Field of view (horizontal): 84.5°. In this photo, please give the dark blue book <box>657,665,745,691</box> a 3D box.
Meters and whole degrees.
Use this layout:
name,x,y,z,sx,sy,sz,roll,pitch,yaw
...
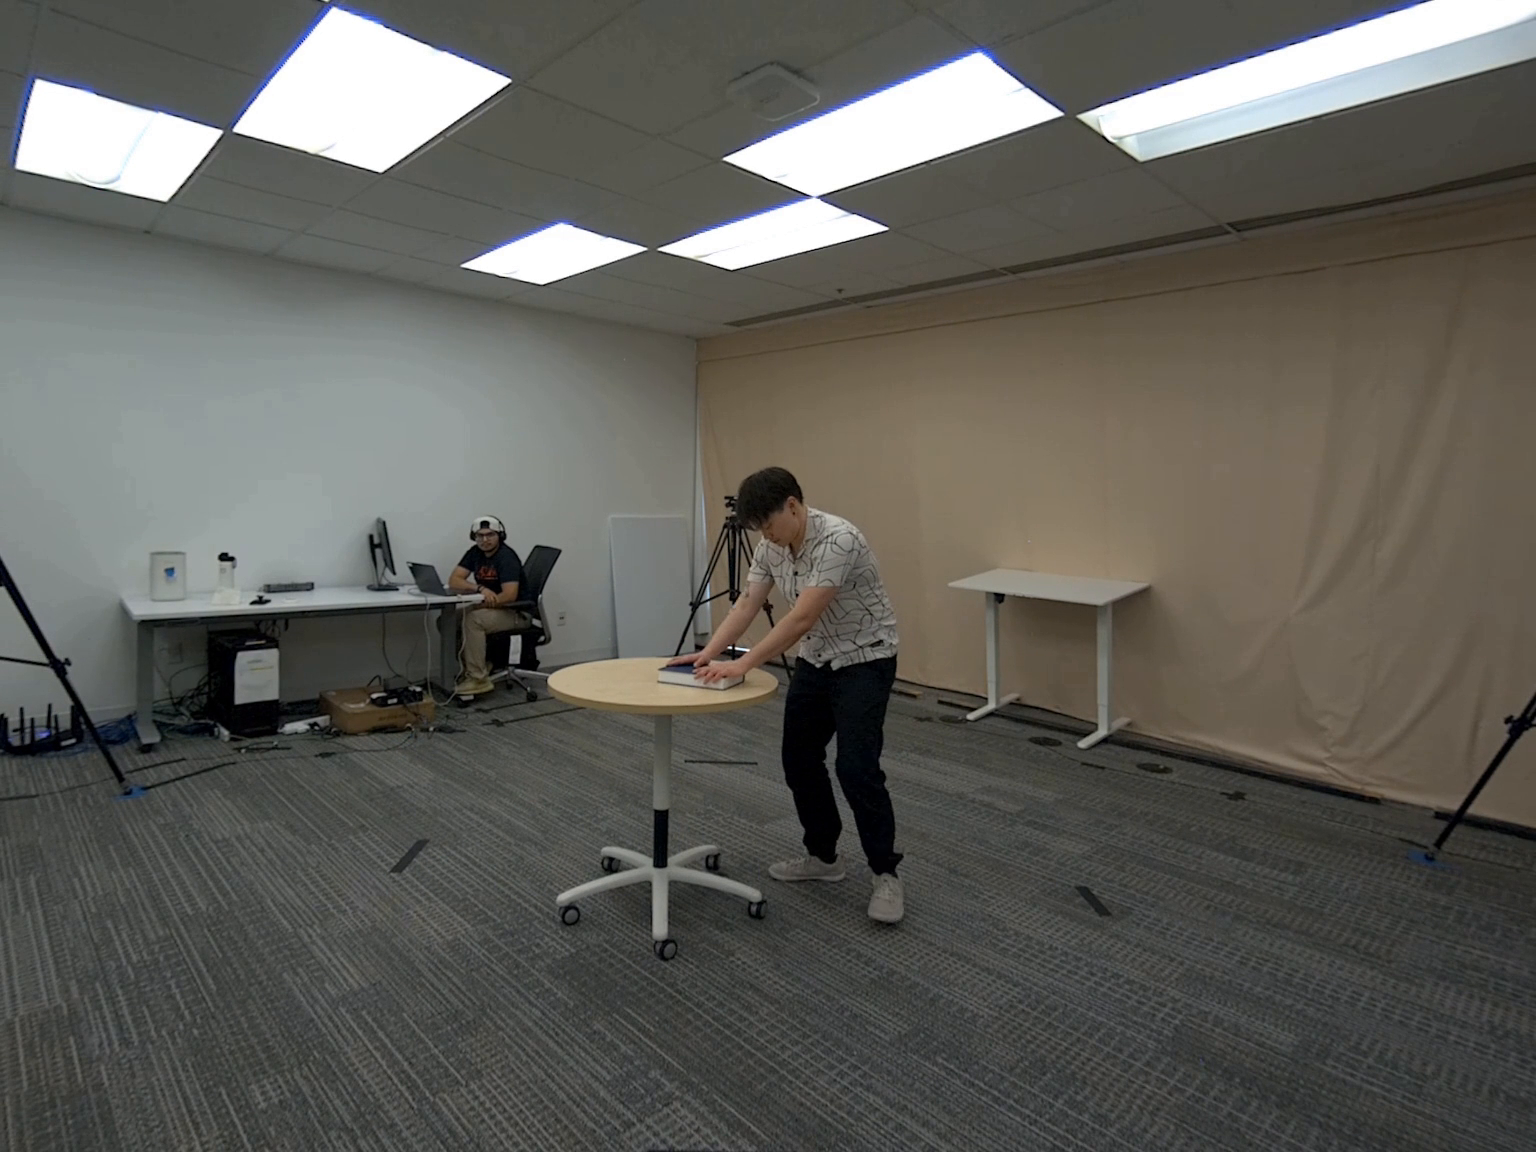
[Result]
name,x,y,z,sx,sy,sz,roll,pitch,yaw
dark blue book,-0.225,0.334,2.770,0.249,0.045,0.161,4,4,22
